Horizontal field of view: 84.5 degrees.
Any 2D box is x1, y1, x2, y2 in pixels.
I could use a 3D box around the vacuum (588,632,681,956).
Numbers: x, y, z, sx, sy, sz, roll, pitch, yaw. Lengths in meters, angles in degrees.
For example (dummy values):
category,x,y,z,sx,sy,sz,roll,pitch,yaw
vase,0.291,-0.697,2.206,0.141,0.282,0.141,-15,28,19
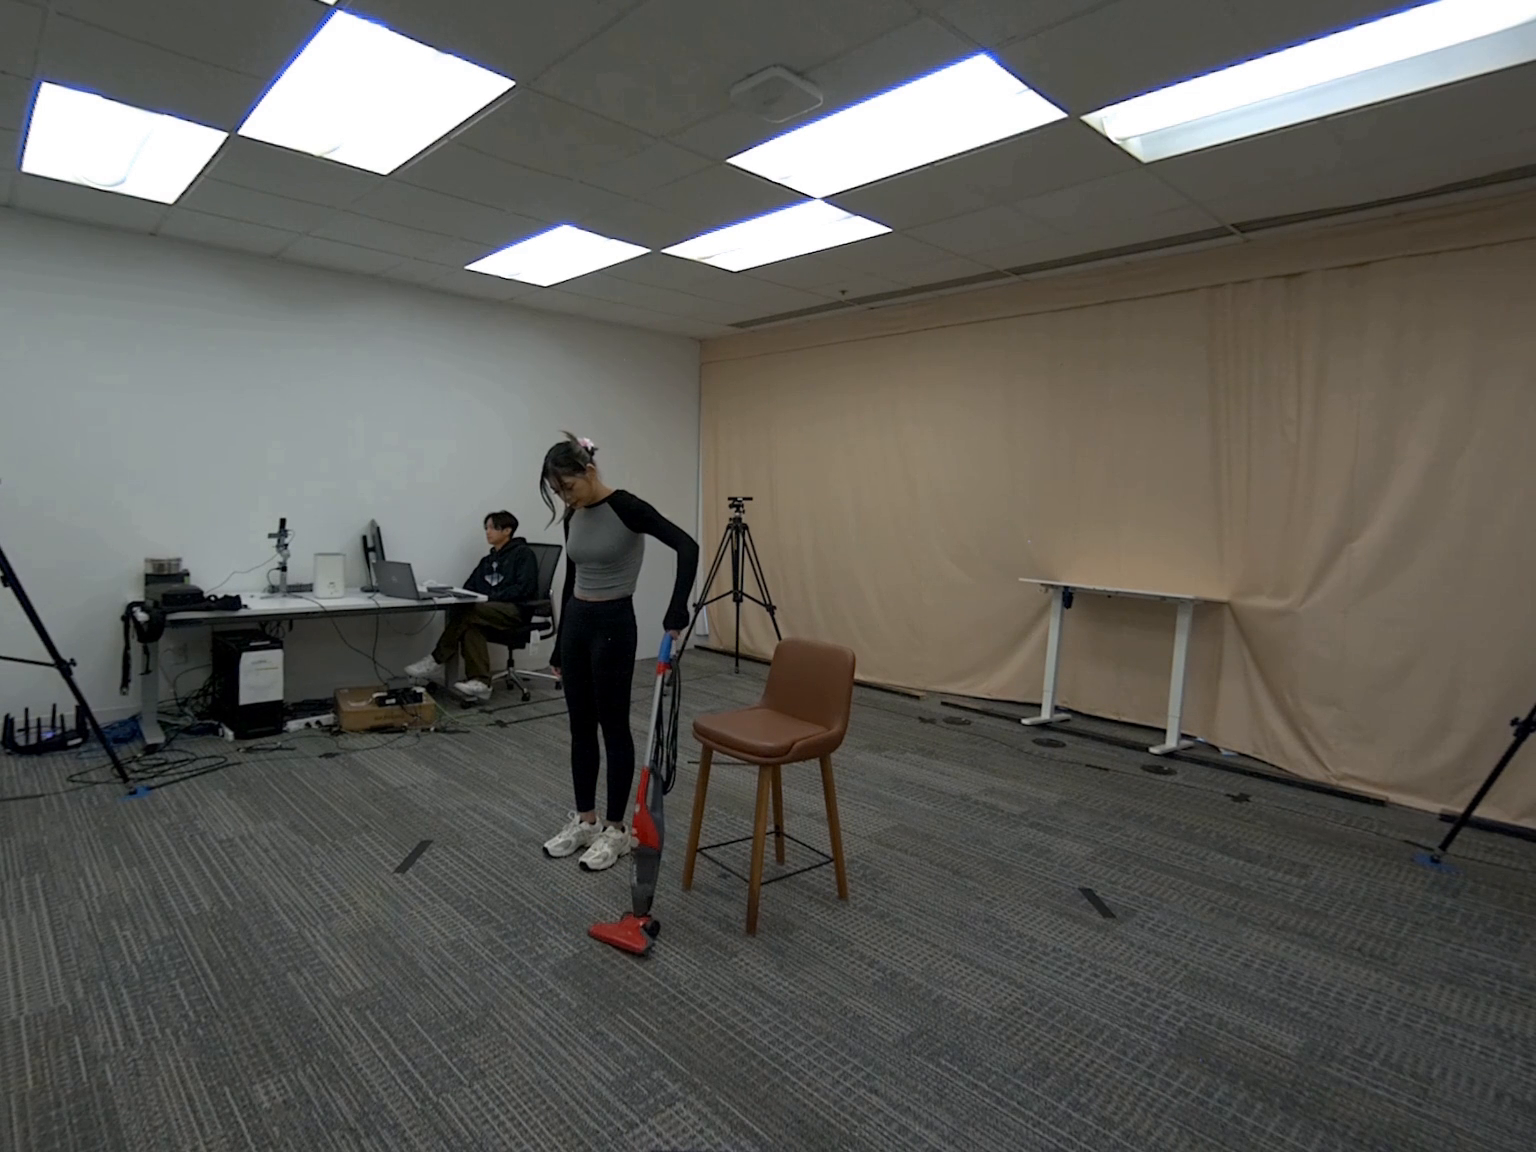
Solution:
category,x,y,z,sx,sy,sz,roll,pitch,yaw
vacuum,-0.378,0.641,2.764,0.258,1.058,0.139,-4,-19,40
